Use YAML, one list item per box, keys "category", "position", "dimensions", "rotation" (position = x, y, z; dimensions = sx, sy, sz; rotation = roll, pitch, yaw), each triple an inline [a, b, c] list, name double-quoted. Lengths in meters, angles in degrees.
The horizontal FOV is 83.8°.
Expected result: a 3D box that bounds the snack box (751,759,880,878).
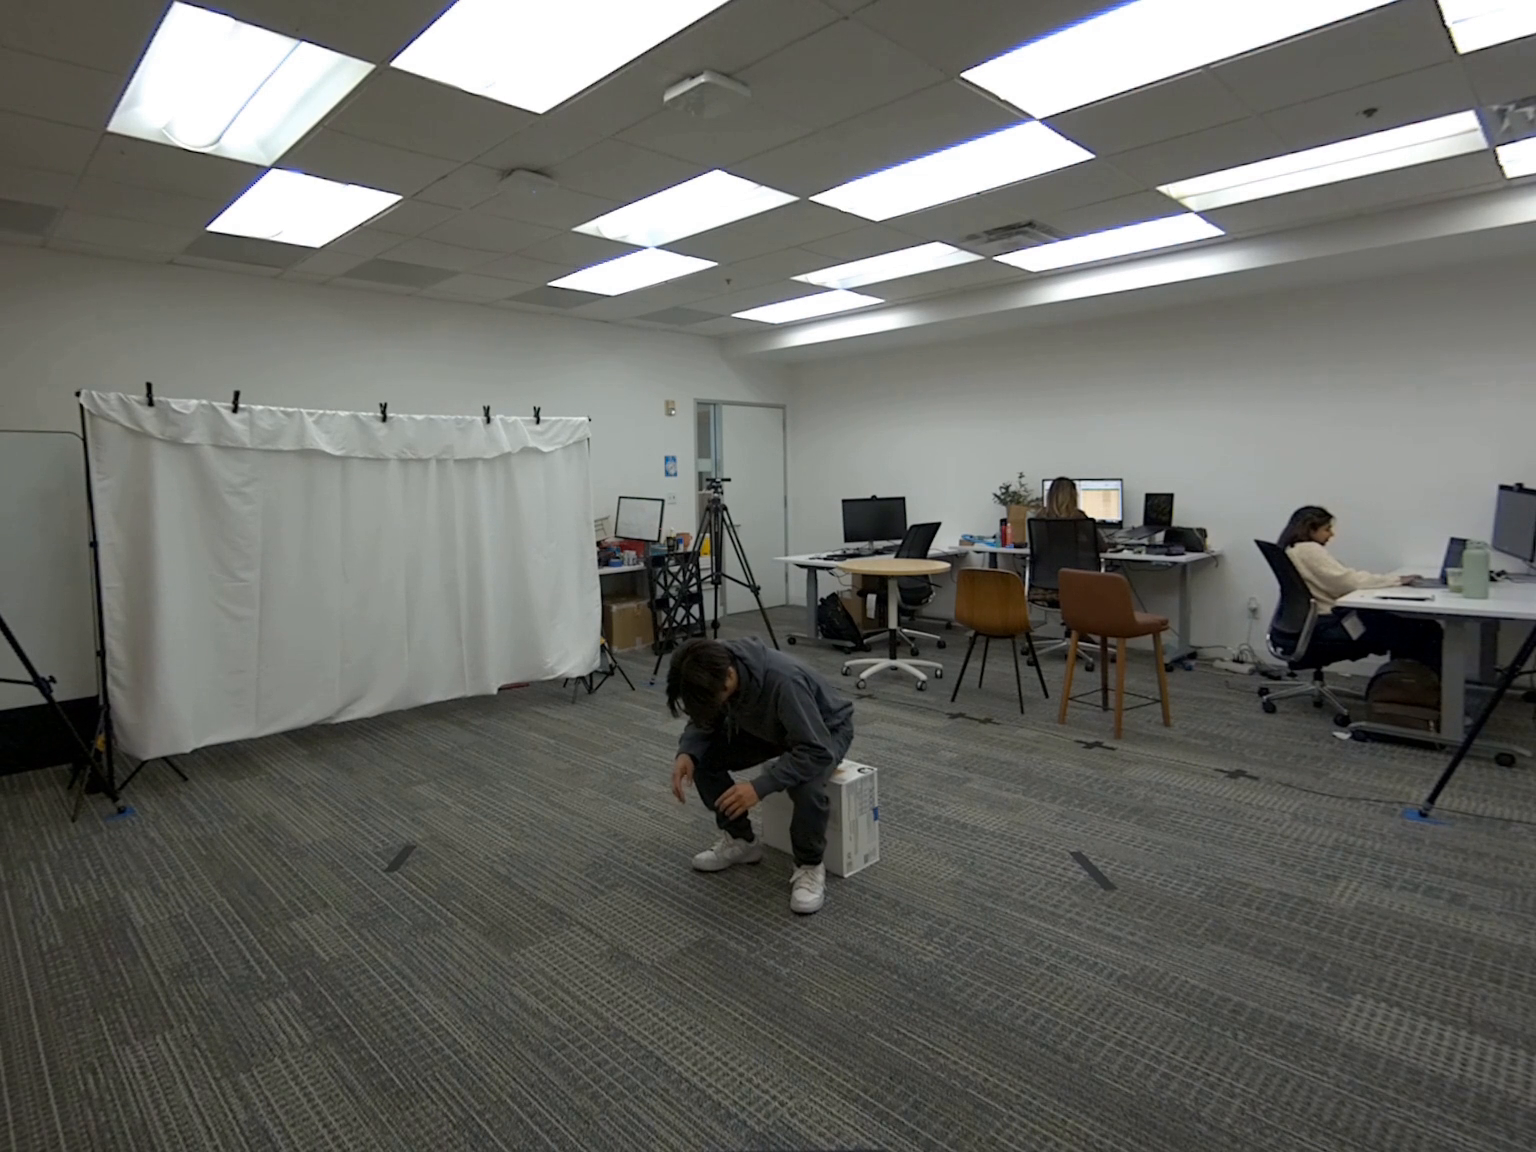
- category: "snack box"
  position: [0.191, 0.860, 3.179]
  dimensions: [0.200, 0.339, 0.418]
  rotation: [-7, 8, -43]
